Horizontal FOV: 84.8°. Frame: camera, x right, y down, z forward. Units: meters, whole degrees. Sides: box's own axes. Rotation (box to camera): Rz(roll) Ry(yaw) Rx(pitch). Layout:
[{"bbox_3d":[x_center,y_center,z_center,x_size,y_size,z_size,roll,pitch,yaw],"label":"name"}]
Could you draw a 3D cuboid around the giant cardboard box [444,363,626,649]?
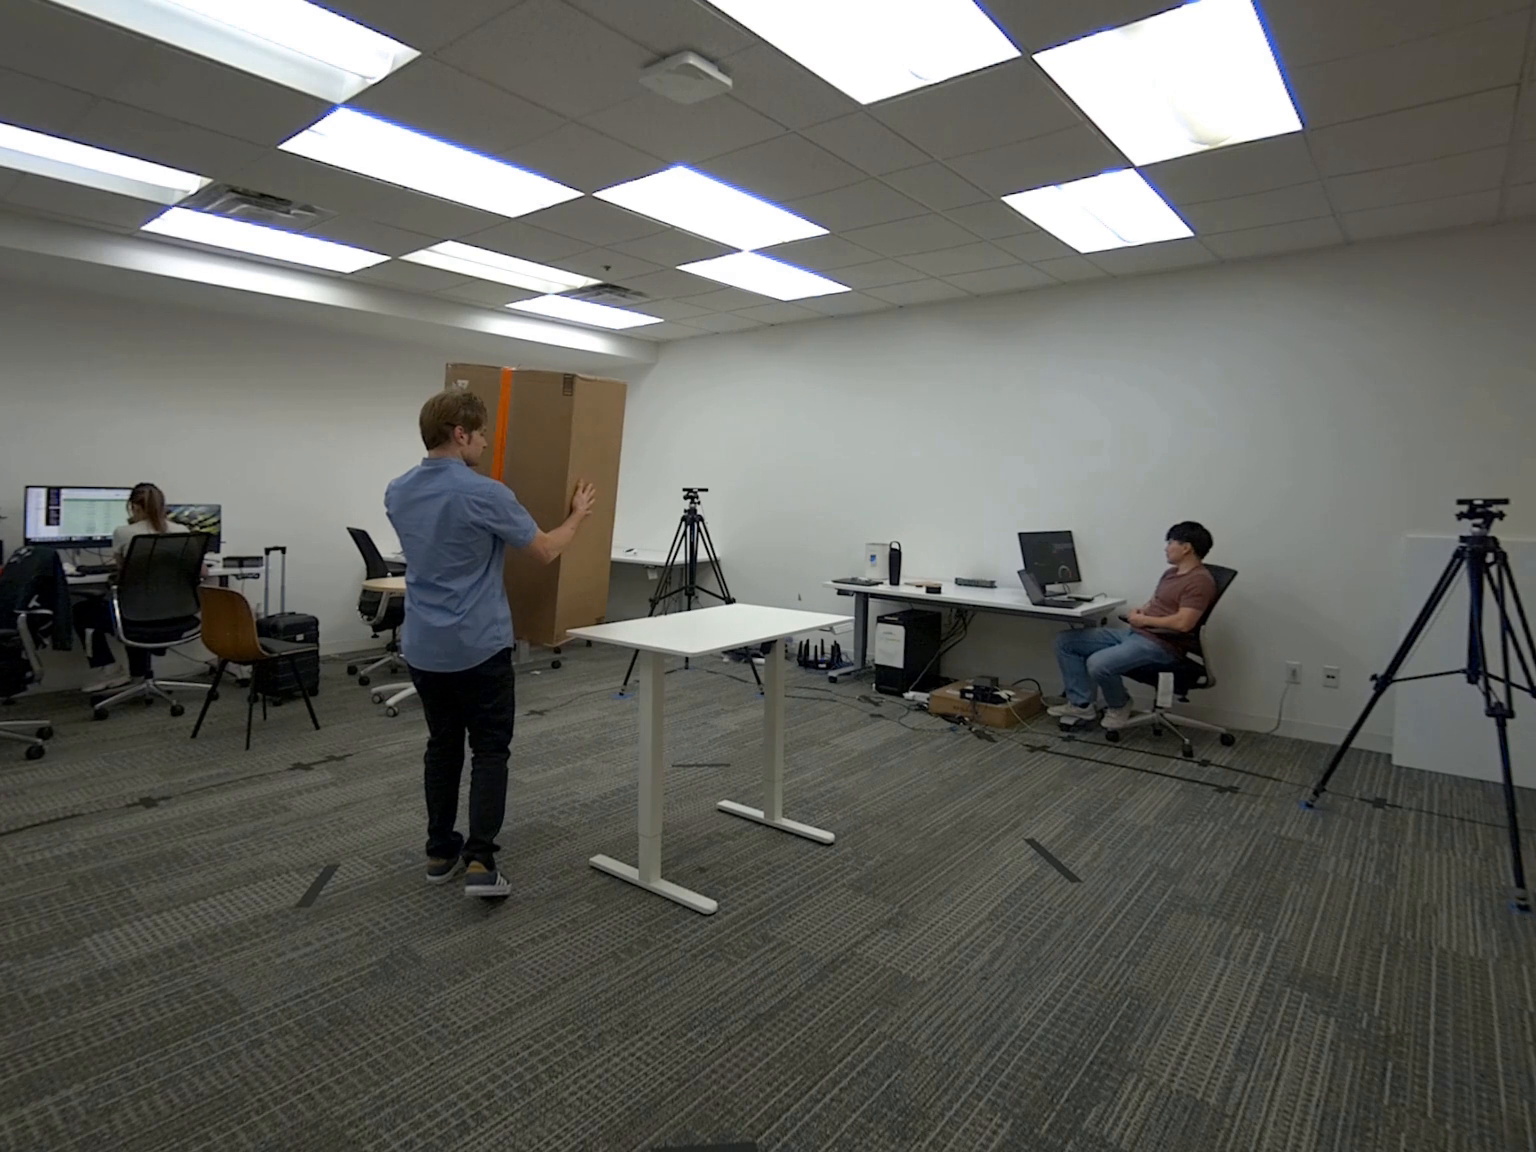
[{"bbox_3d":[-0.969,-0.307,3.402,0.591,1.019,0.419,9,8,19],"label":"giant cardboard box"}]
